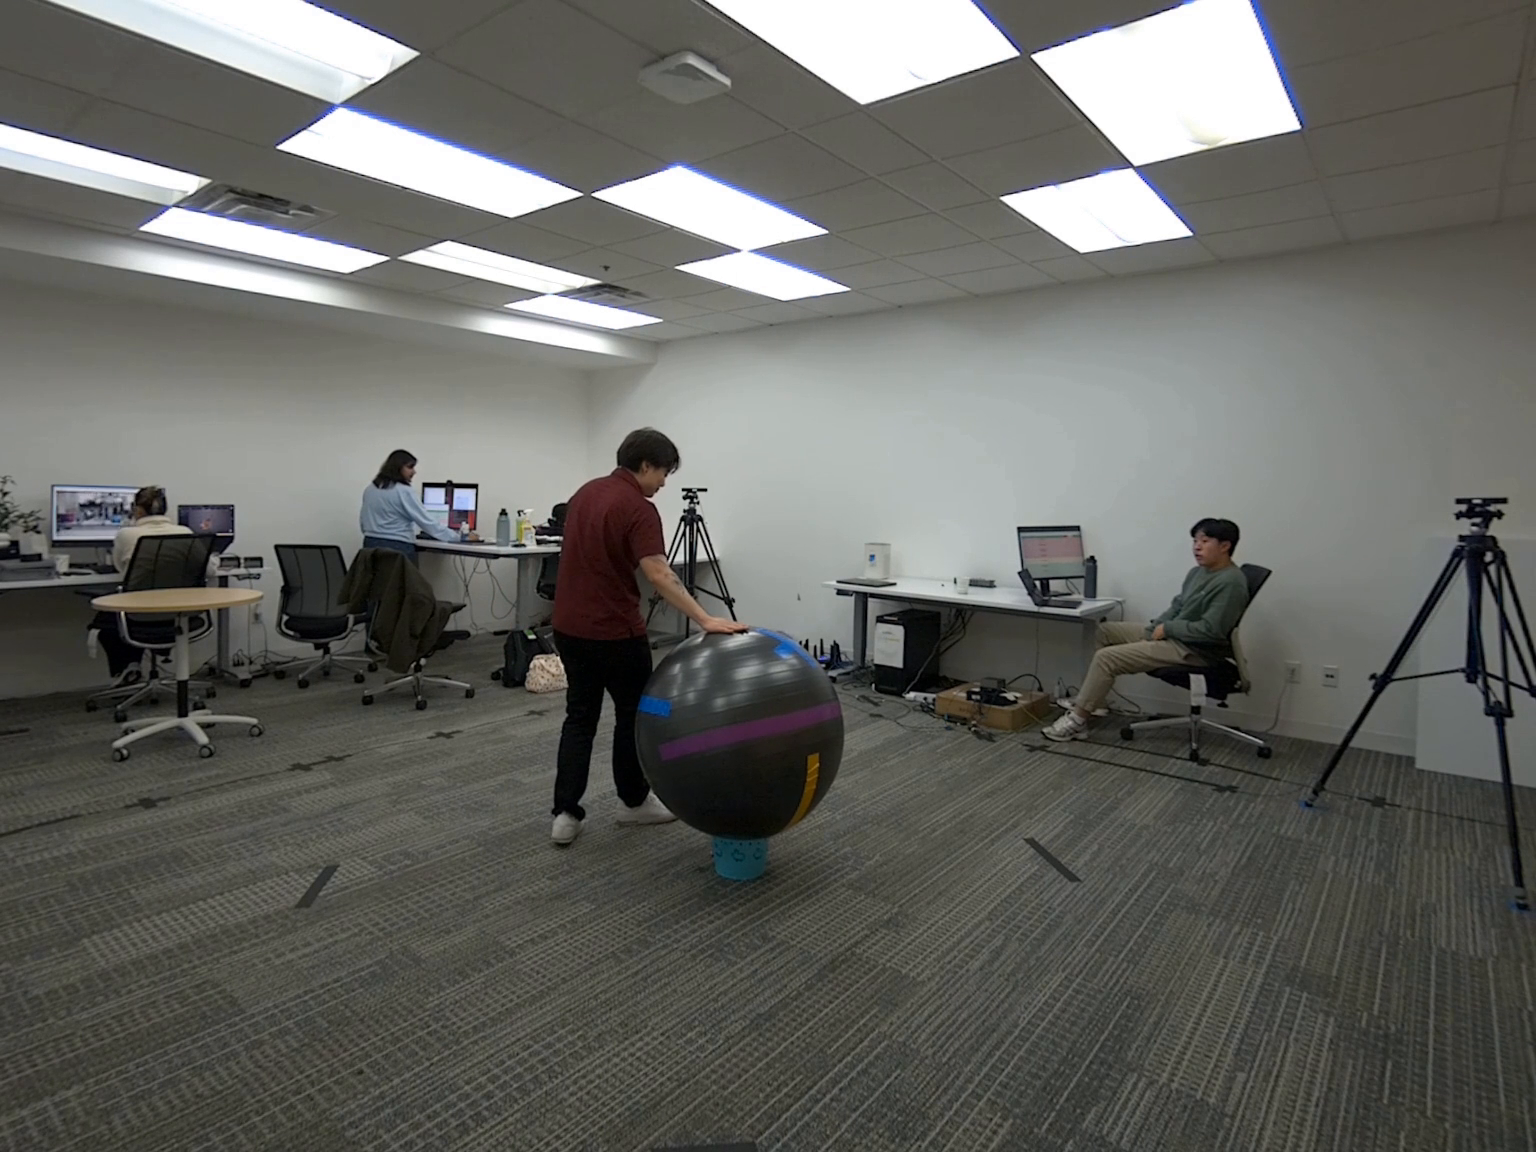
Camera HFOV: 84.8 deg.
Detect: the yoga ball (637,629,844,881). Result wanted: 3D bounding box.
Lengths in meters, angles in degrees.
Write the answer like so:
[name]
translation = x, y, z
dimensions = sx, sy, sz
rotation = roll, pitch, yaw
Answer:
[yoga ball]
translation = -0.117, 0.561, 3.104
dimensions = 0.757, 0.755, 0.762
rotation = 1, 4, -2
